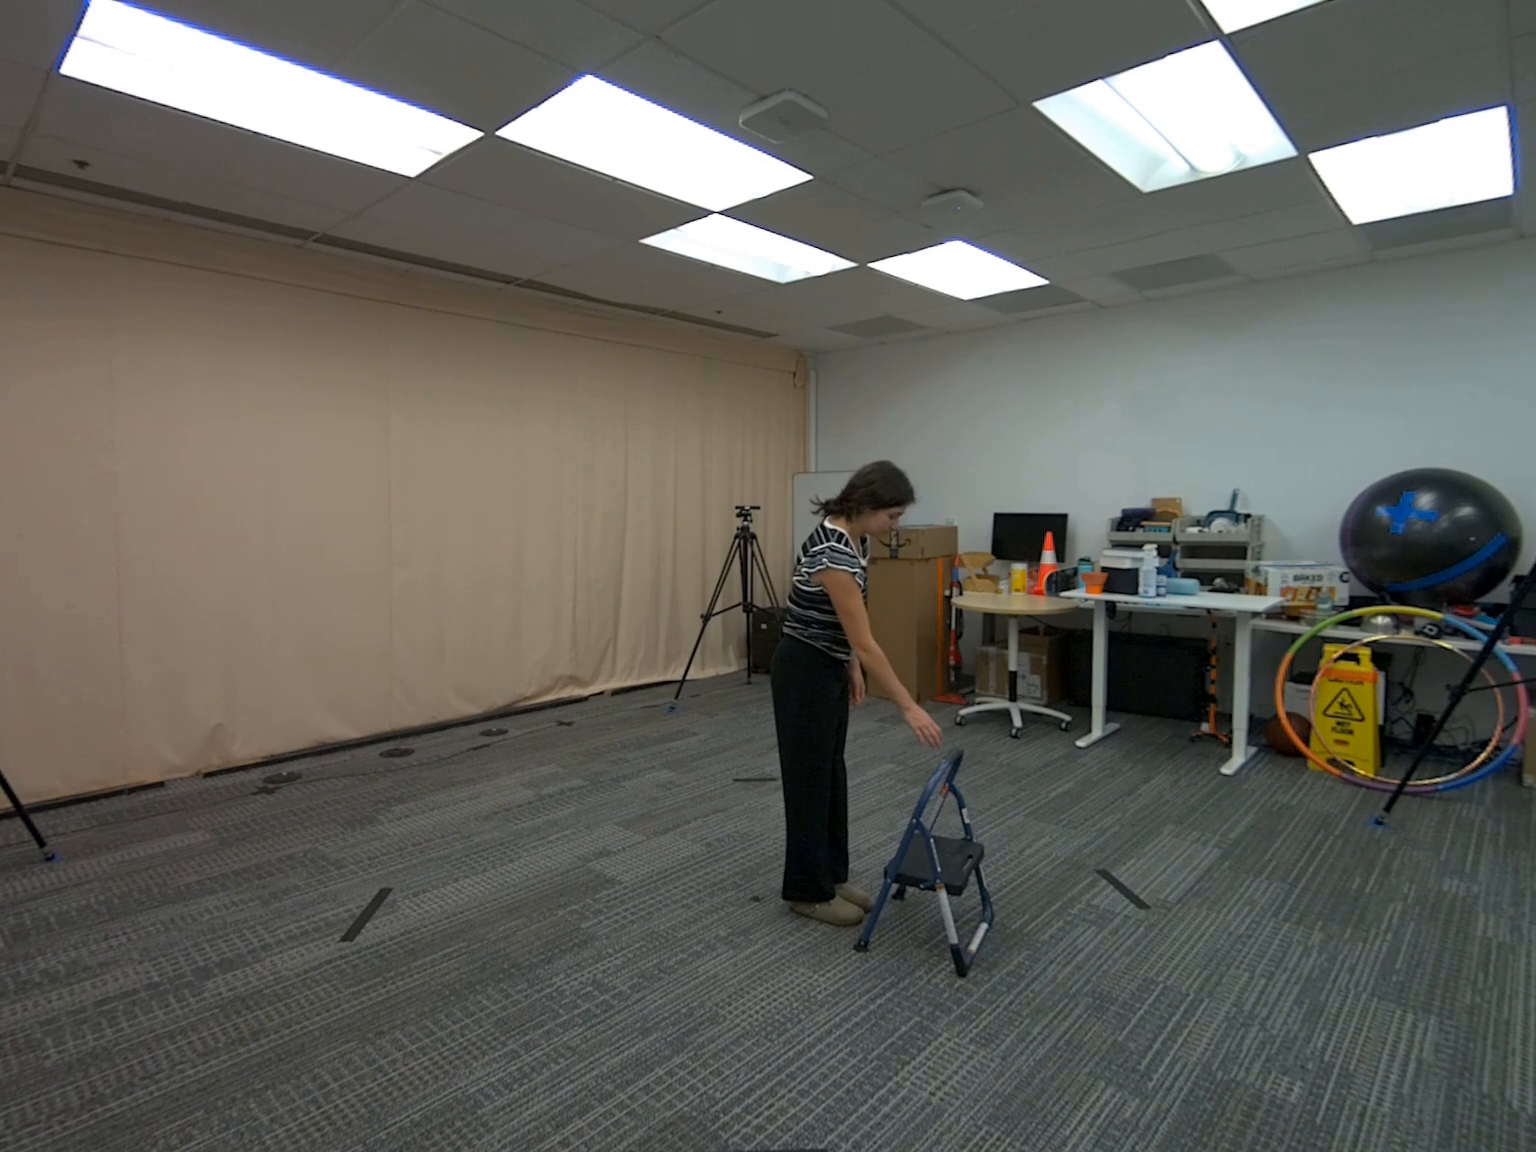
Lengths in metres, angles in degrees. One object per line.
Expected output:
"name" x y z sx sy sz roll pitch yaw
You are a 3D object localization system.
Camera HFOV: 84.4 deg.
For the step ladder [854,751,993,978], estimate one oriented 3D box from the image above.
"step ladder" 0.523 0.861 2.718 0.359 0.605 0.420 2 4 27
